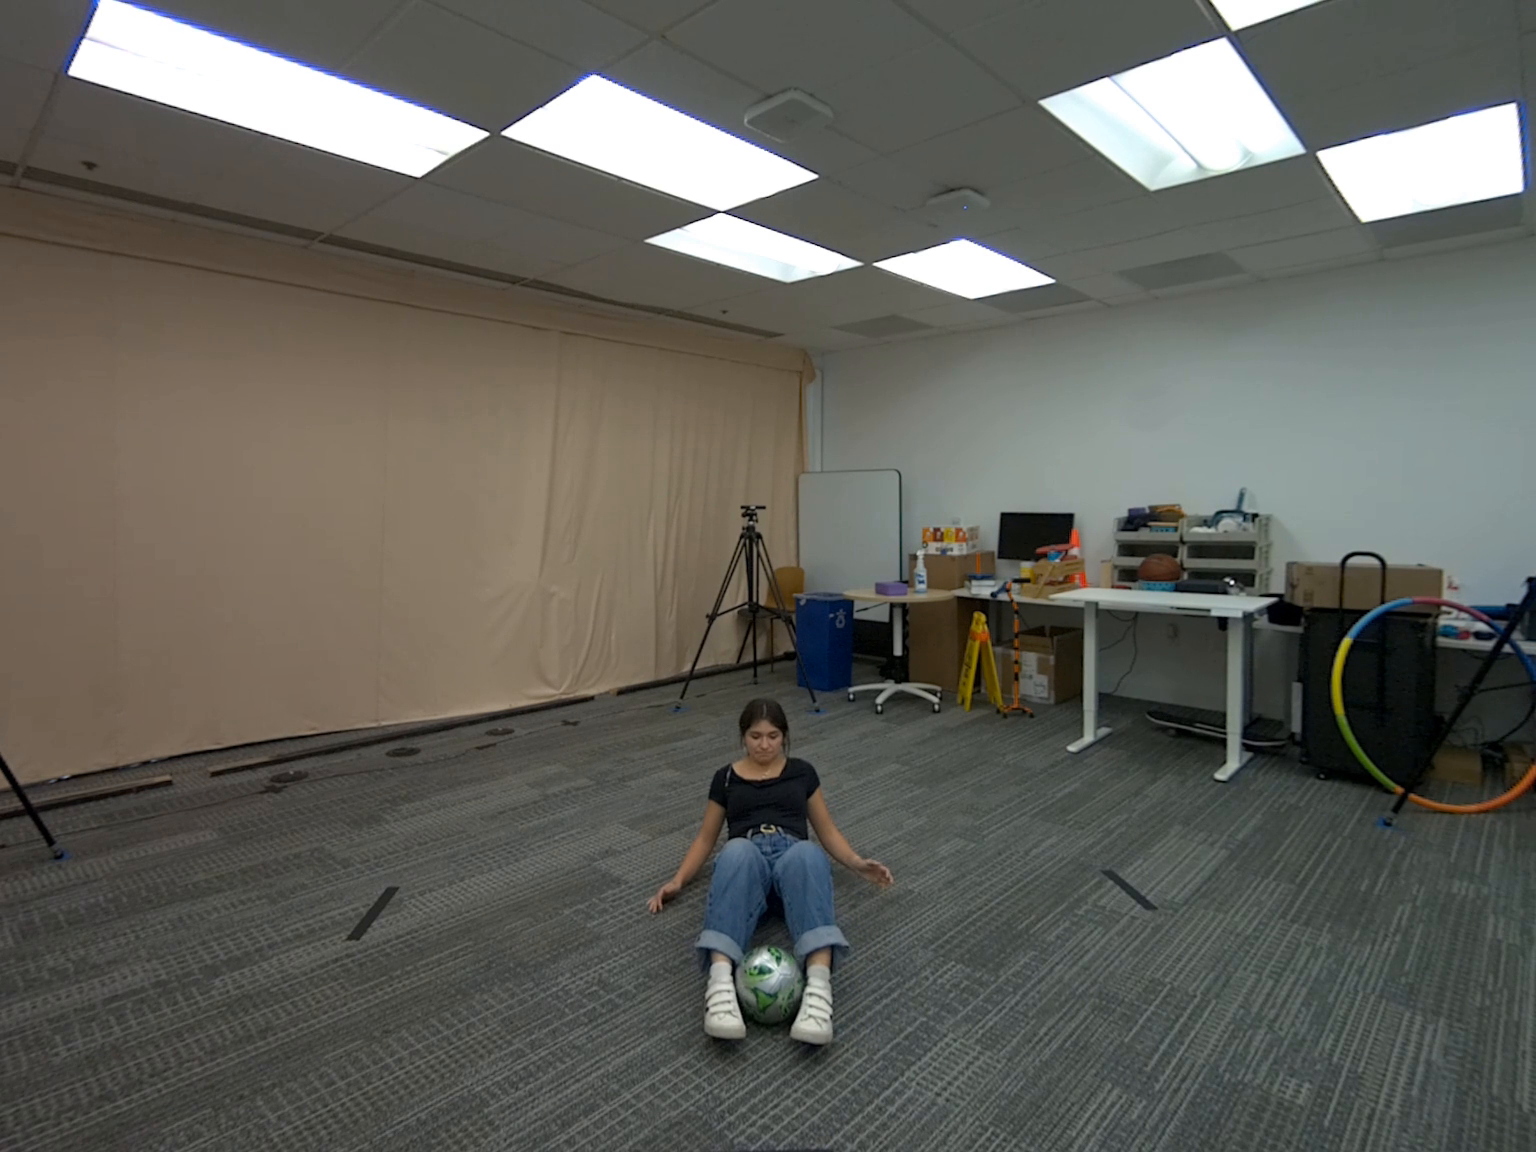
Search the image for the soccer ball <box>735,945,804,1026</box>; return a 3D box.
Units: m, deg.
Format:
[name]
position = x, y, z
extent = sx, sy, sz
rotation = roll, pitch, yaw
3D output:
[soccer ball]
position = 0.013, 1.103, 2.290
extent = 0.187, 0.187, 0.188
rotation = 3, 4, -2
